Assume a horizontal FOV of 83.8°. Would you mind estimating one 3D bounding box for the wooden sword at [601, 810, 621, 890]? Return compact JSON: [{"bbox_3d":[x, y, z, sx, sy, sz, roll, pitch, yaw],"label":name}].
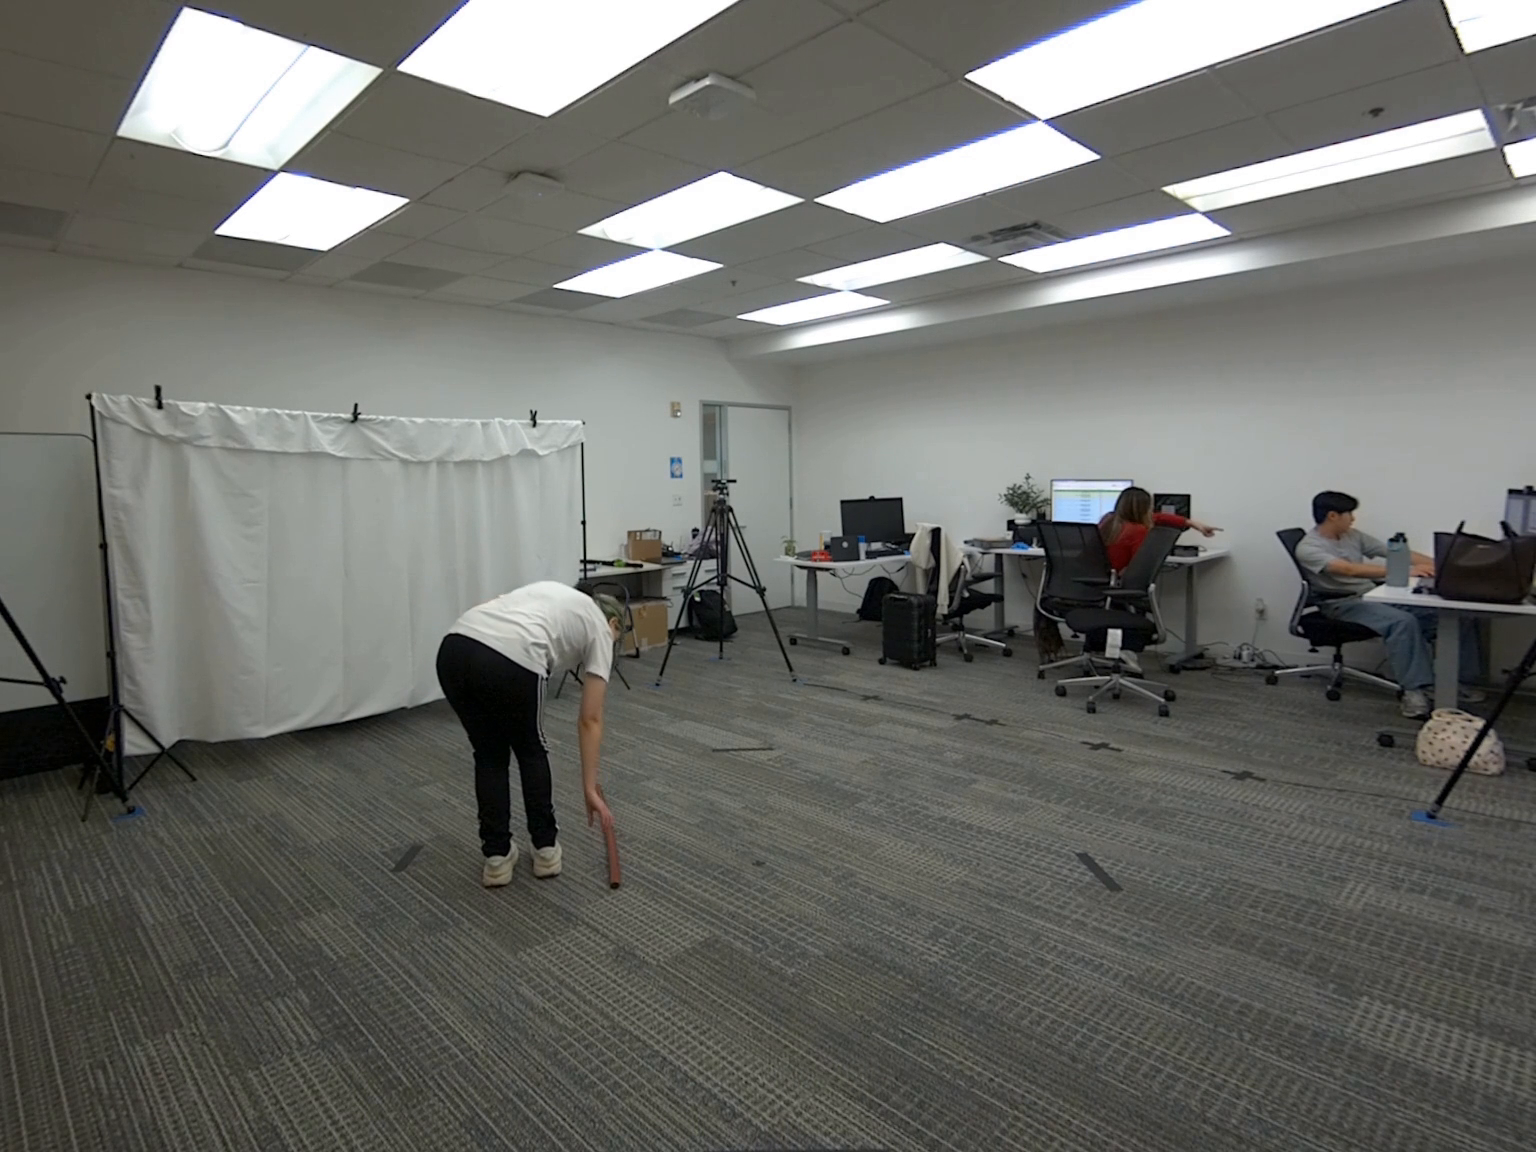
[{"bbox_3d":[-0.649,0.992,3.426,0.051,0.024,1.043,-32,13,-10],"label":"wooden sword"}]
